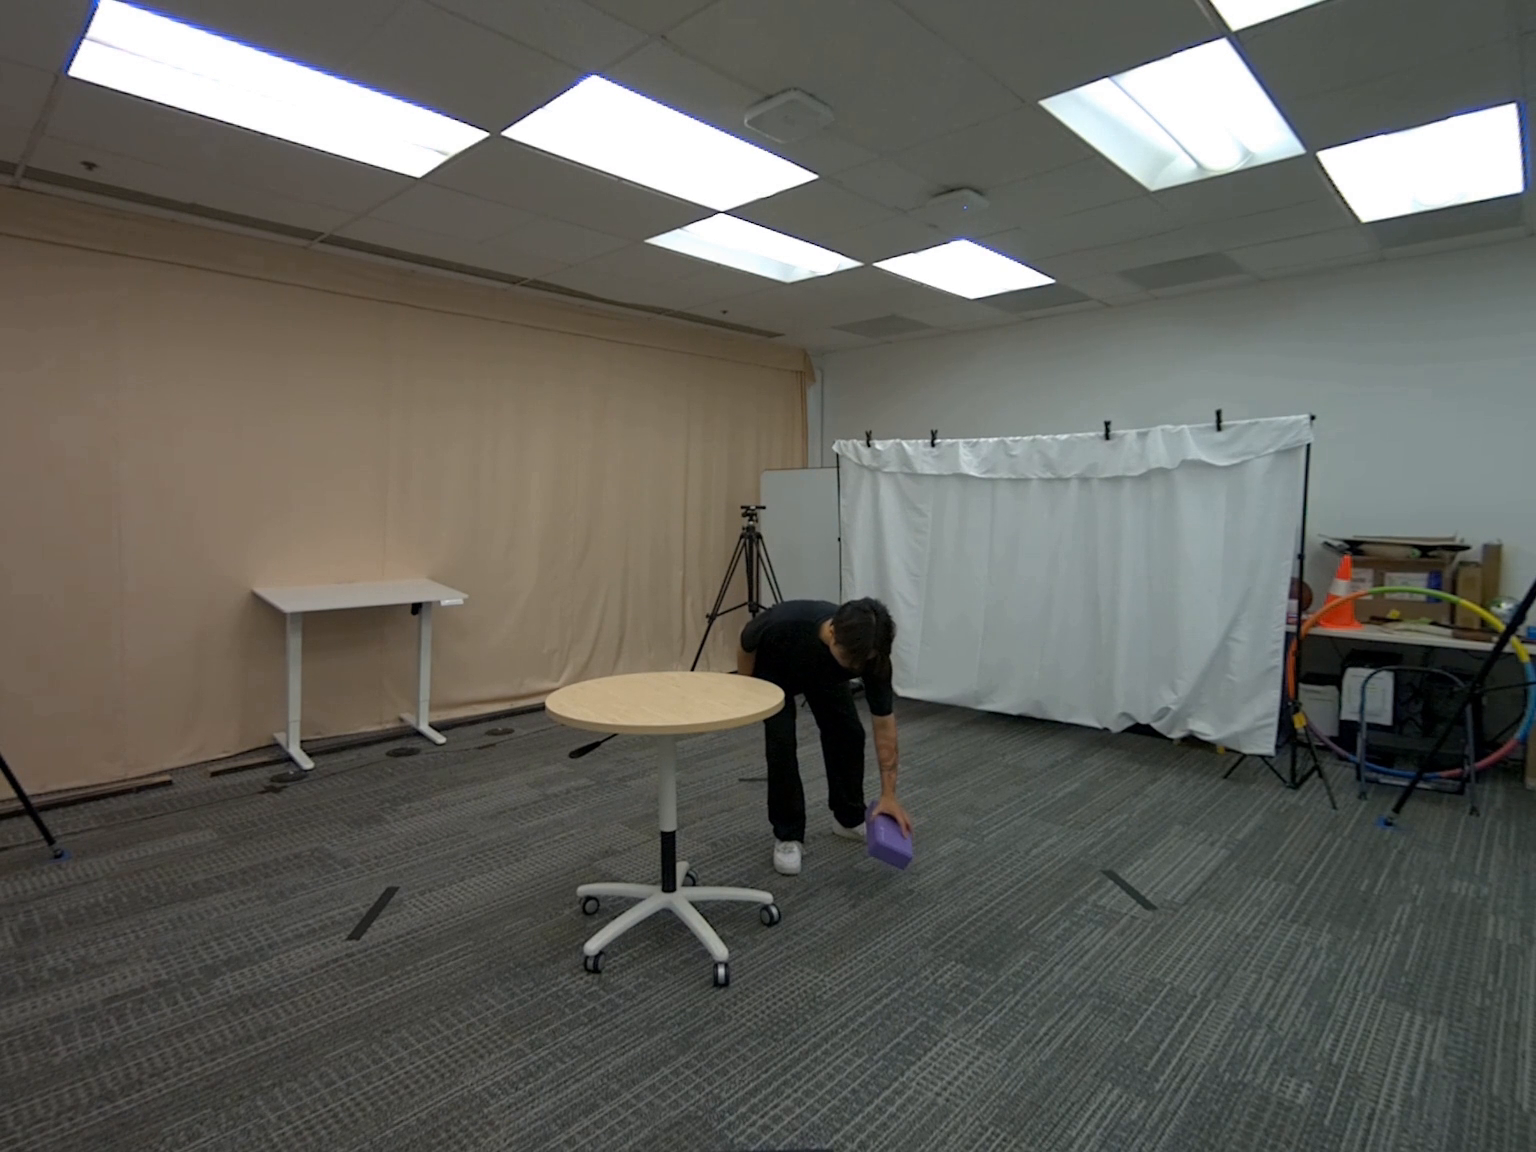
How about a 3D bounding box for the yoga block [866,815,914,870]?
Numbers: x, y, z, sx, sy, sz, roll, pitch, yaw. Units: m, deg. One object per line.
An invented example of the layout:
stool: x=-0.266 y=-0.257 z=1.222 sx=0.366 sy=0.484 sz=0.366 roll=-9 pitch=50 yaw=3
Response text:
yoga block: x=0.450 y=0.935 z=3.039 sx=0.148 sy=0.076 sz=0.231 roll=26 pitch=19 yaw=-5
